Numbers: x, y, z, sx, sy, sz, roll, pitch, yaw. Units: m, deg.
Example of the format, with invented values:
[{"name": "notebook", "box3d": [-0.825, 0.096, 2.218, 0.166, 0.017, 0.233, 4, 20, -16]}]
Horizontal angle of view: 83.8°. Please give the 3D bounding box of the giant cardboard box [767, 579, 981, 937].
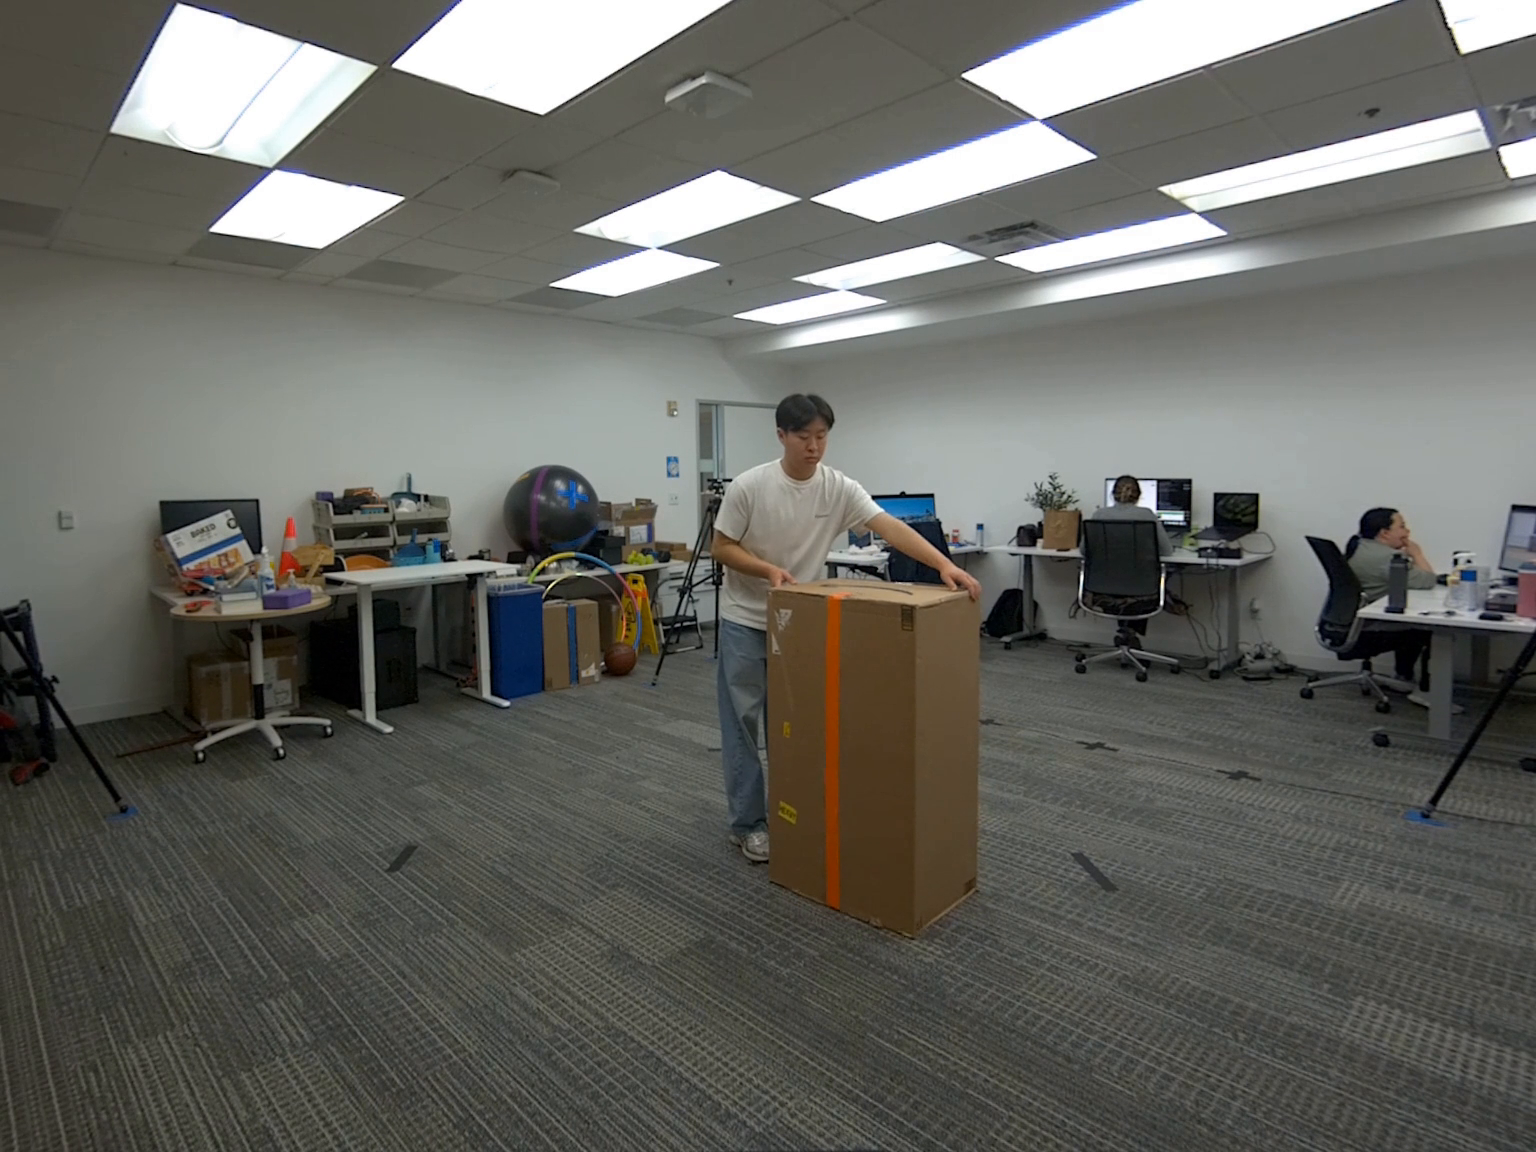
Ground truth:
[{"name": "giant cardboard box", "box3d": [0.359, 0.554, 2.878, 0.595, 1.022, 0.415, 3, 5, 42]}]
